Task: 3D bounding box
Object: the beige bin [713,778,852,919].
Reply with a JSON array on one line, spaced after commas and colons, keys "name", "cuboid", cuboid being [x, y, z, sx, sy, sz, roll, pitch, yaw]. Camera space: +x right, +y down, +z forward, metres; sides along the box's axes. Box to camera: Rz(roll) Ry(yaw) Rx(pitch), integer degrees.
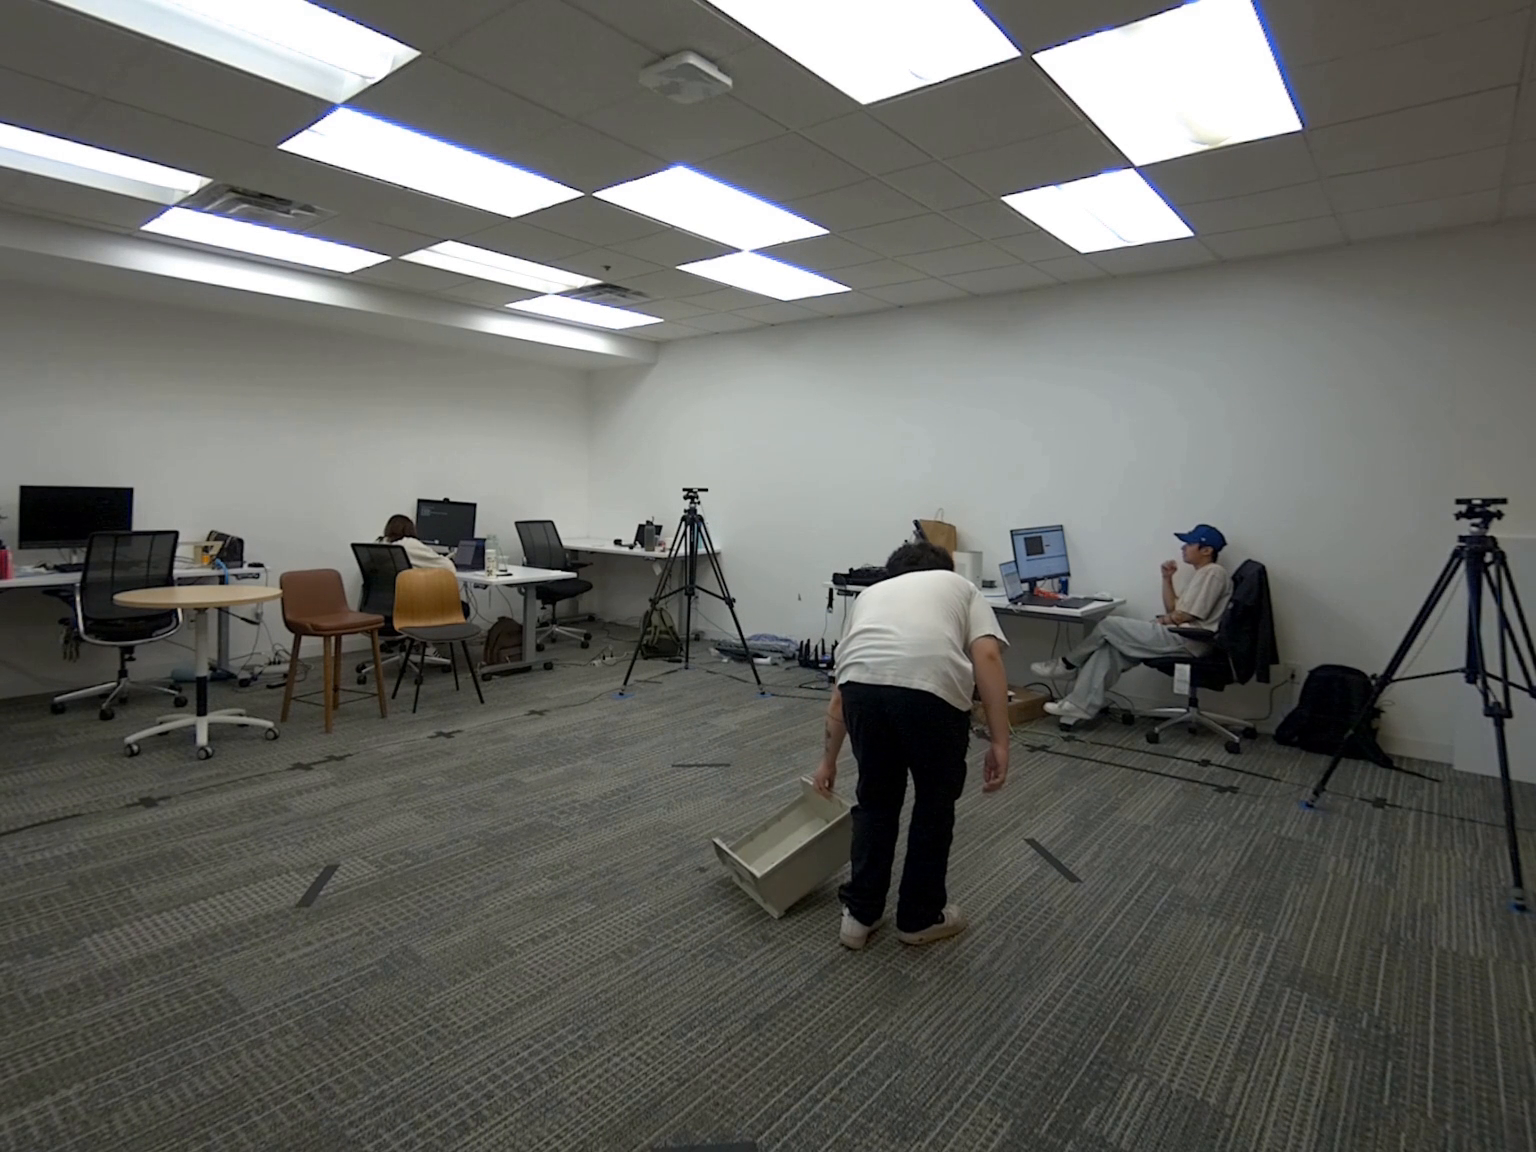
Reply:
[{"name": "beige bin", "cuboid": [0.062, 0.924, 2.965, 0.418, 0.185, 0.389, -28, 19, -24]}]
